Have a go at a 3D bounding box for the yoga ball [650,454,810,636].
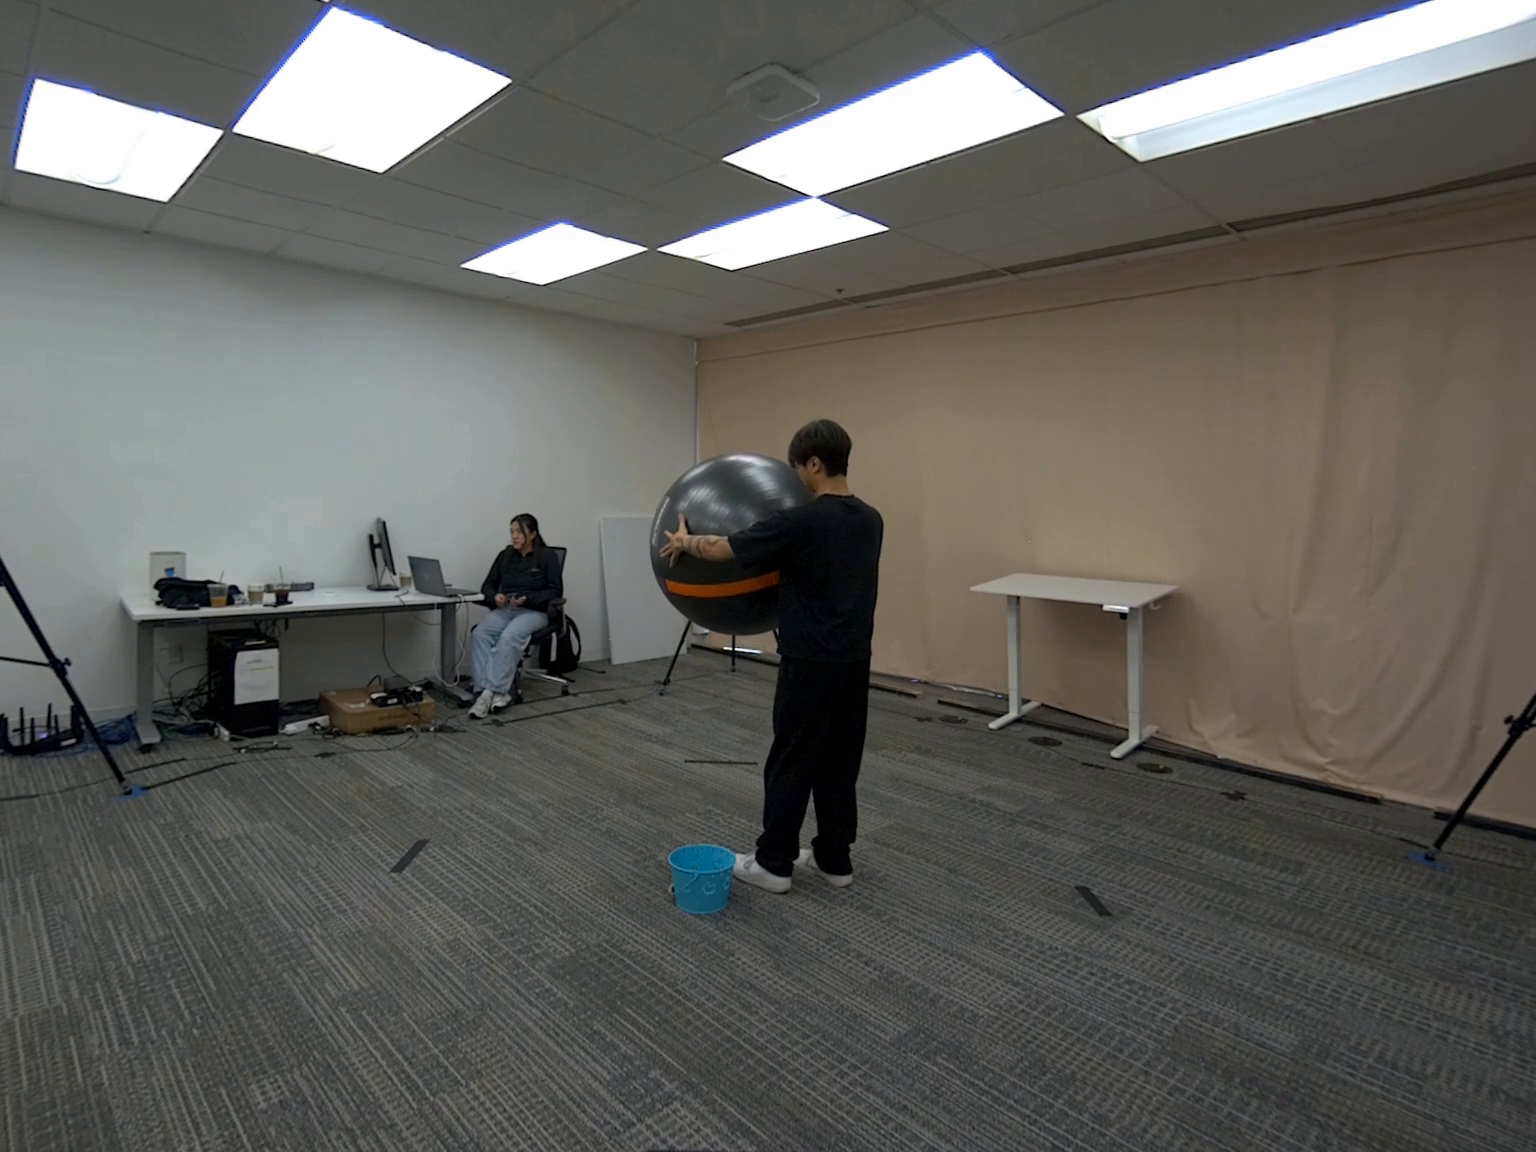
[{"bbox_3d":[-0.126,-0.126,3.514,0.757,0.756,0.761,1,4,-1],"label":"yoga ball"}]
